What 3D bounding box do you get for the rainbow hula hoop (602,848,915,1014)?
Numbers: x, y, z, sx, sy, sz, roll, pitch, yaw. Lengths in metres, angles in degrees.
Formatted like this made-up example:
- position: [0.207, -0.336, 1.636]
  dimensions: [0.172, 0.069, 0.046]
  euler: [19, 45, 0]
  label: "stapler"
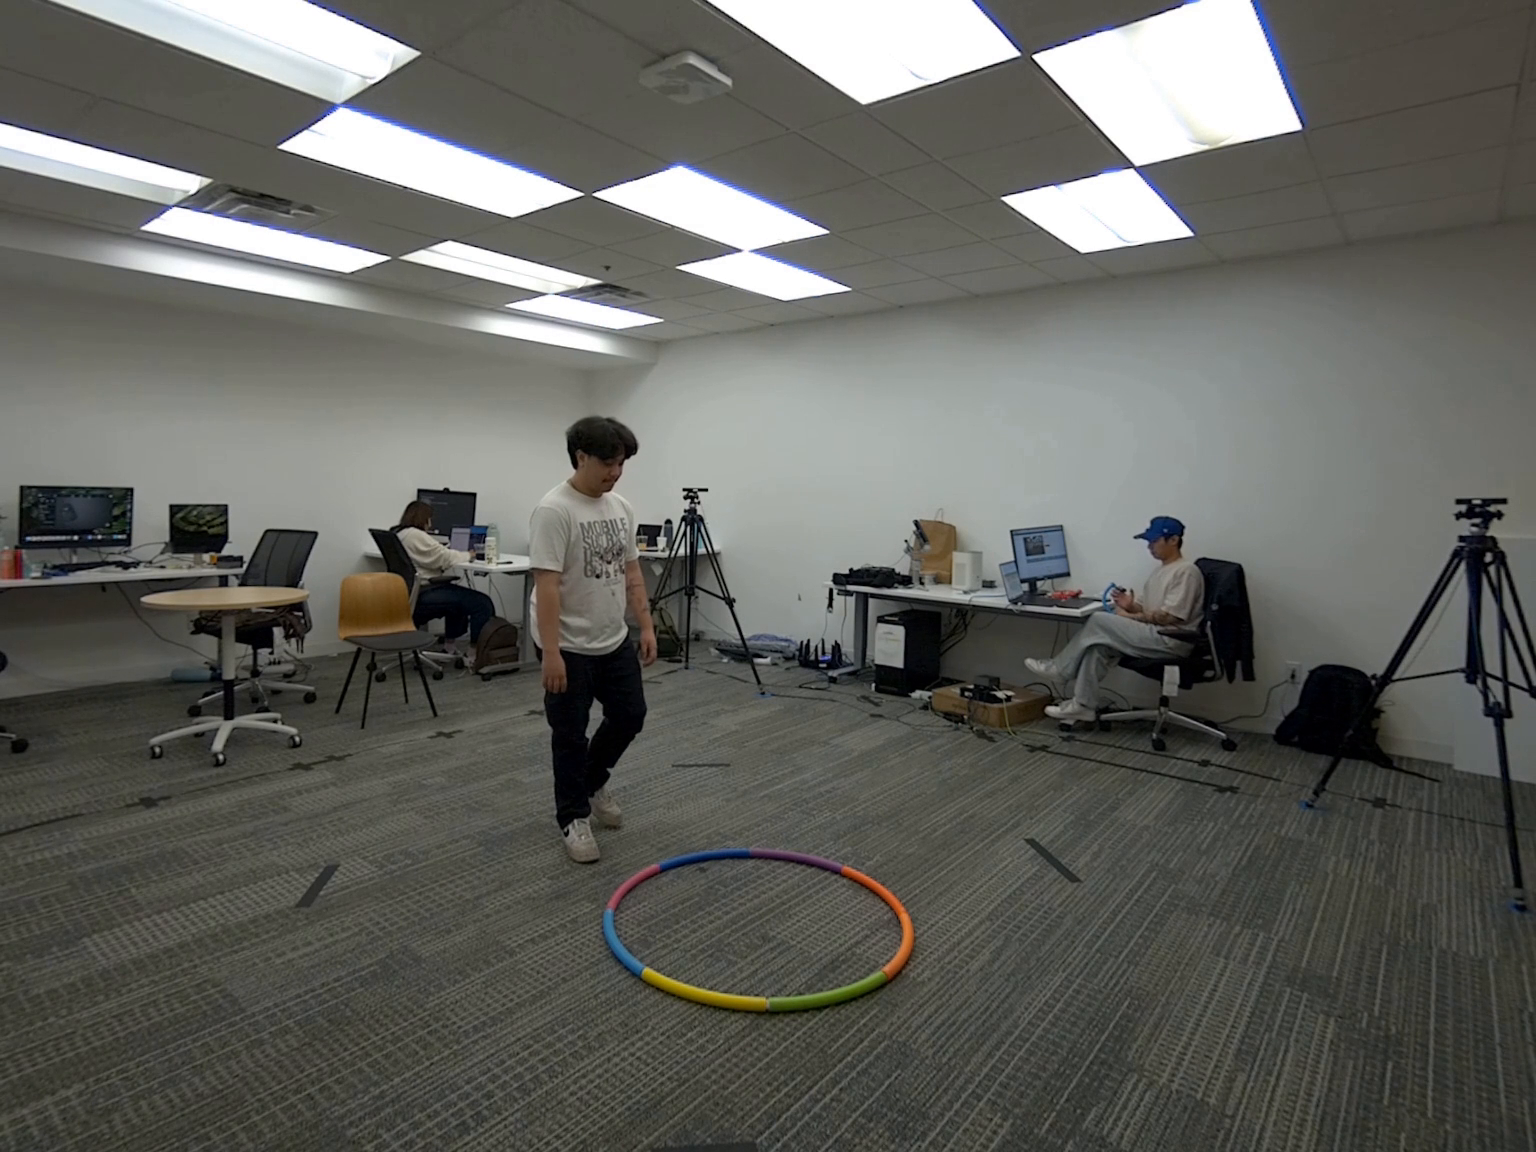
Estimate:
- position: [-0.041, 1.082, 2.742]
  dimensions: [0.984, 0.051, 0.990]
  euler: [0, 5, -2]
  label: "rainbow hula hoop"
